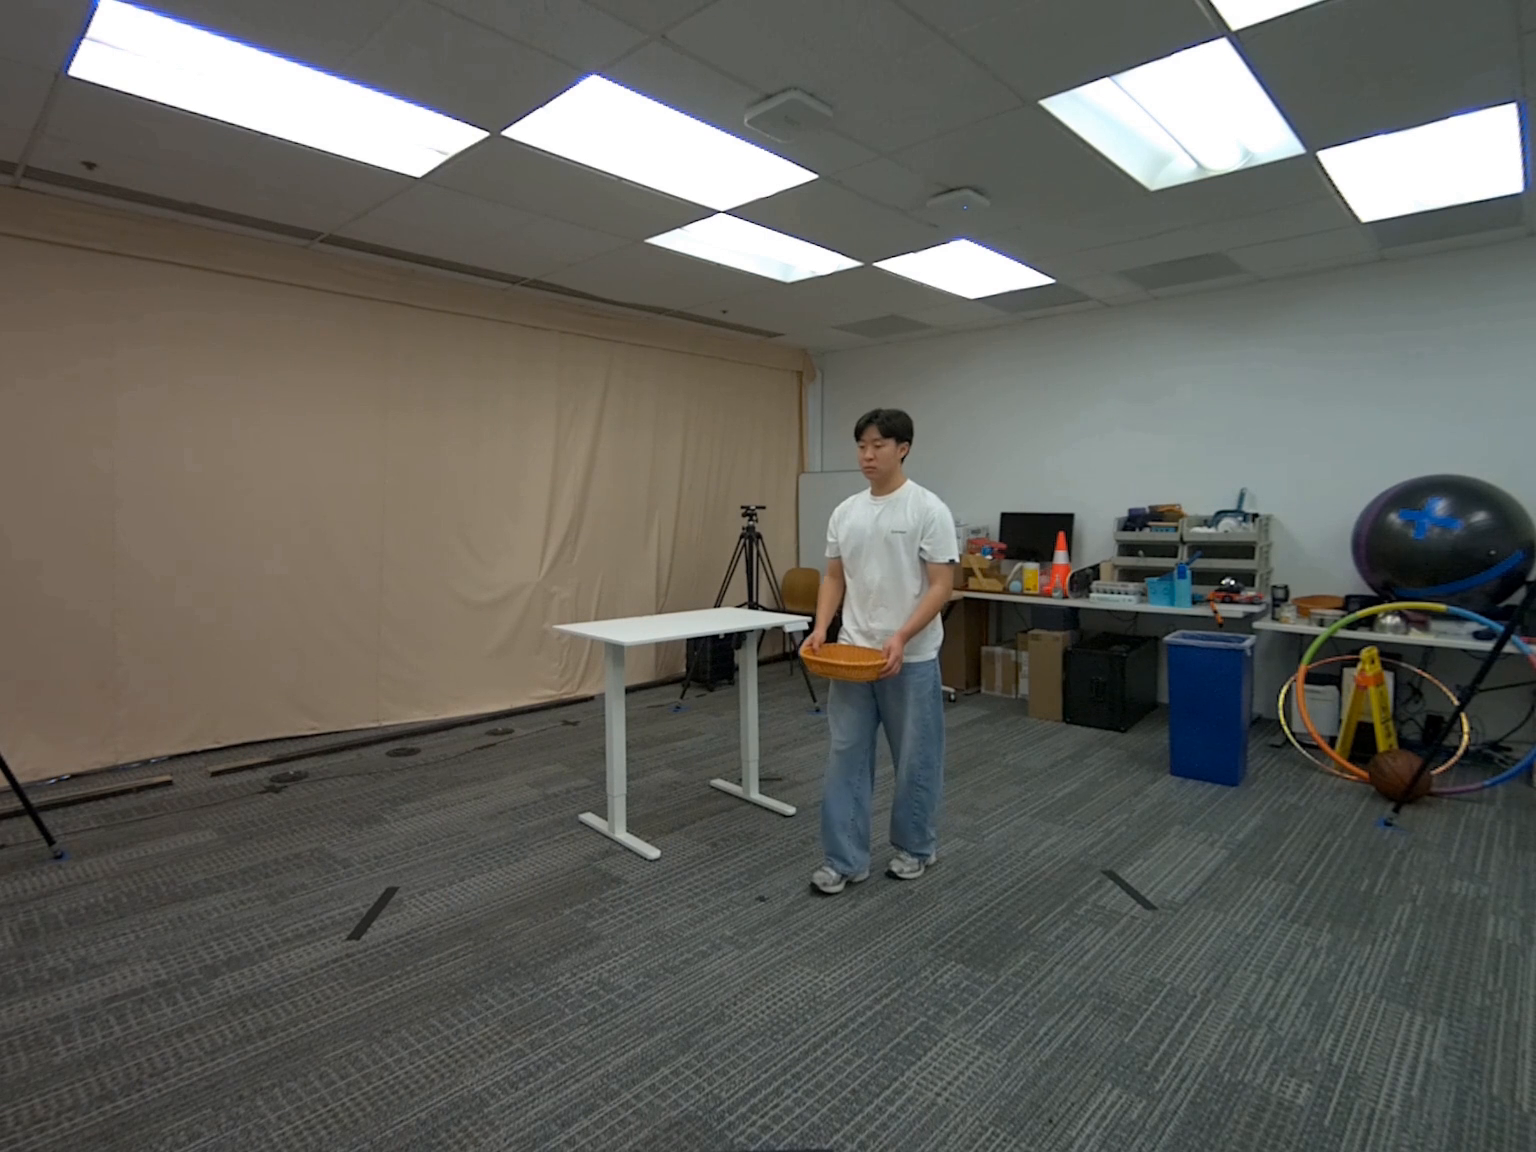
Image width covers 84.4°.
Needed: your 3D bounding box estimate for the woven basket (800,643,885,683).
[{"bbox_3d":[0.284,0.298,2.960,0.362,0.073,0.245,5,10,43],"label":"woven basket"}]
